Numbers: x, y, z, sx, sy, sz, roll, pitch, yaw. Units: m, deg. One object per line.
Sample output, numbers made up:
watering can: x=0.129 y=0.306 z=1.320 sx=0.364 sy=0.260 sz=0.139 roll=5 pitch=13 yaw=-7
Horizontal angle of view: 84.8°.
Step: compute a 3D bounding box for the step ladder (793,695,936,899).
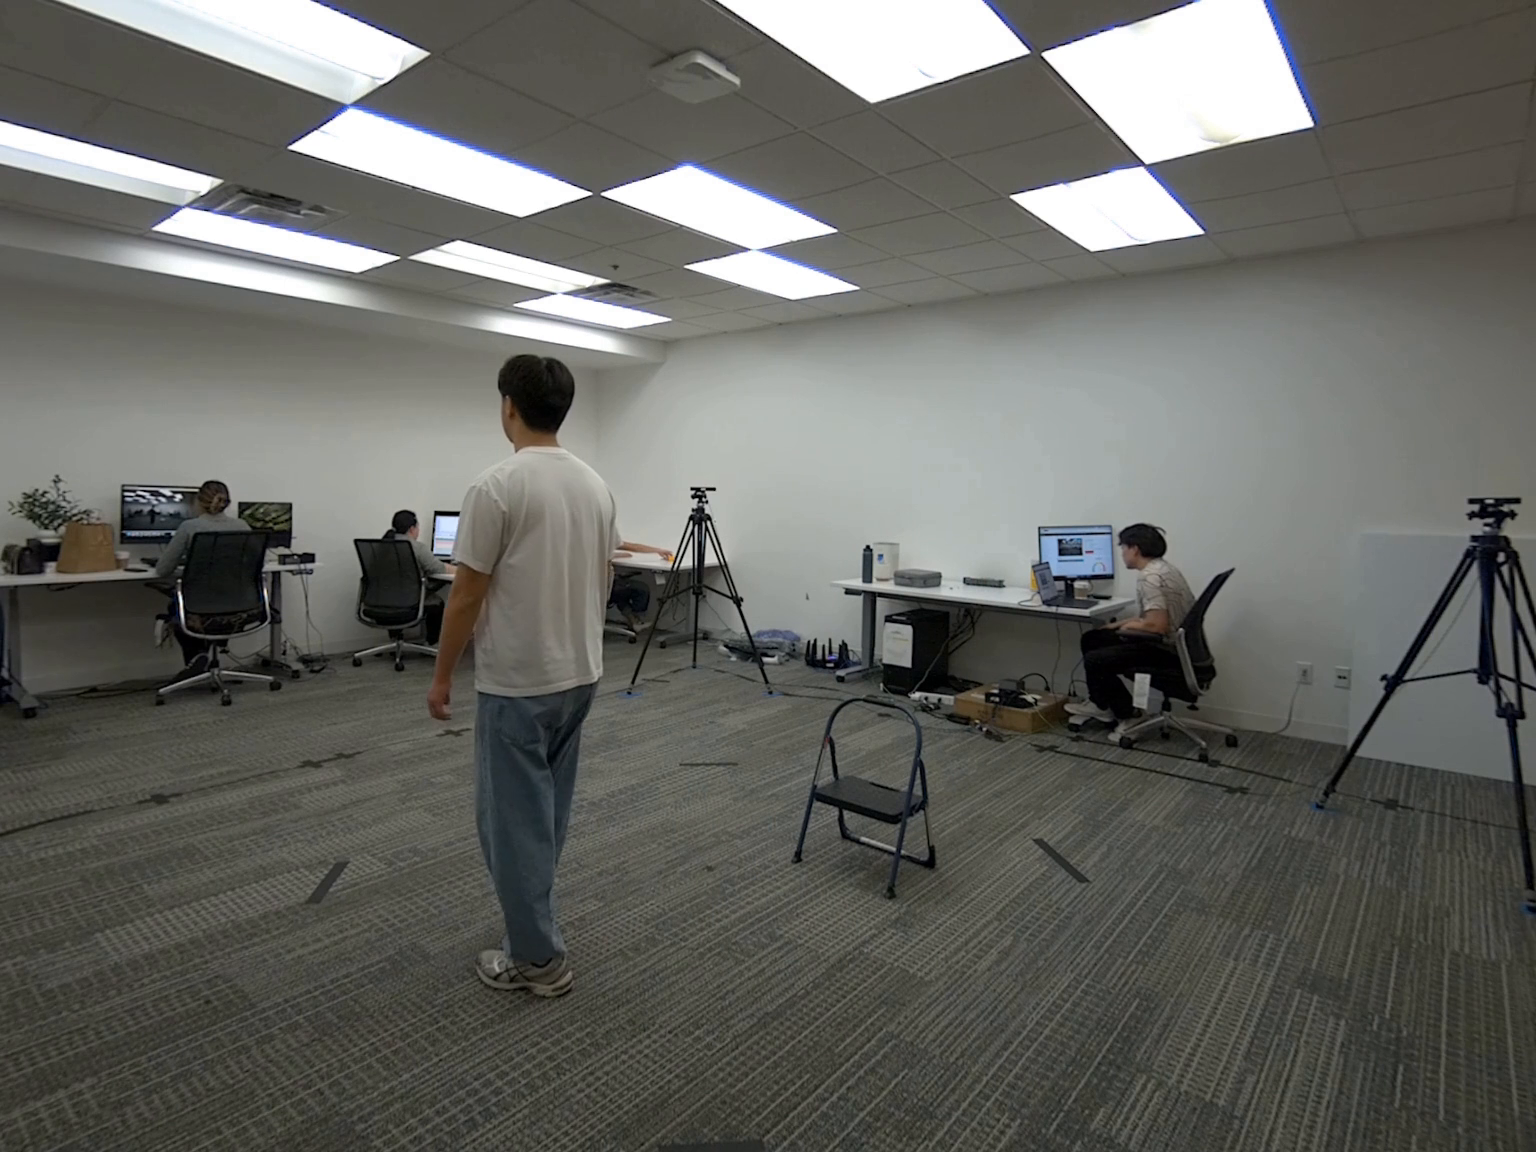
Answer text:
step ladder: x=0.359 y=0.767 z=3.157 sx=0.445 sy=0.604 sz=0.339 roll=5 pitch=5 yaw=39
